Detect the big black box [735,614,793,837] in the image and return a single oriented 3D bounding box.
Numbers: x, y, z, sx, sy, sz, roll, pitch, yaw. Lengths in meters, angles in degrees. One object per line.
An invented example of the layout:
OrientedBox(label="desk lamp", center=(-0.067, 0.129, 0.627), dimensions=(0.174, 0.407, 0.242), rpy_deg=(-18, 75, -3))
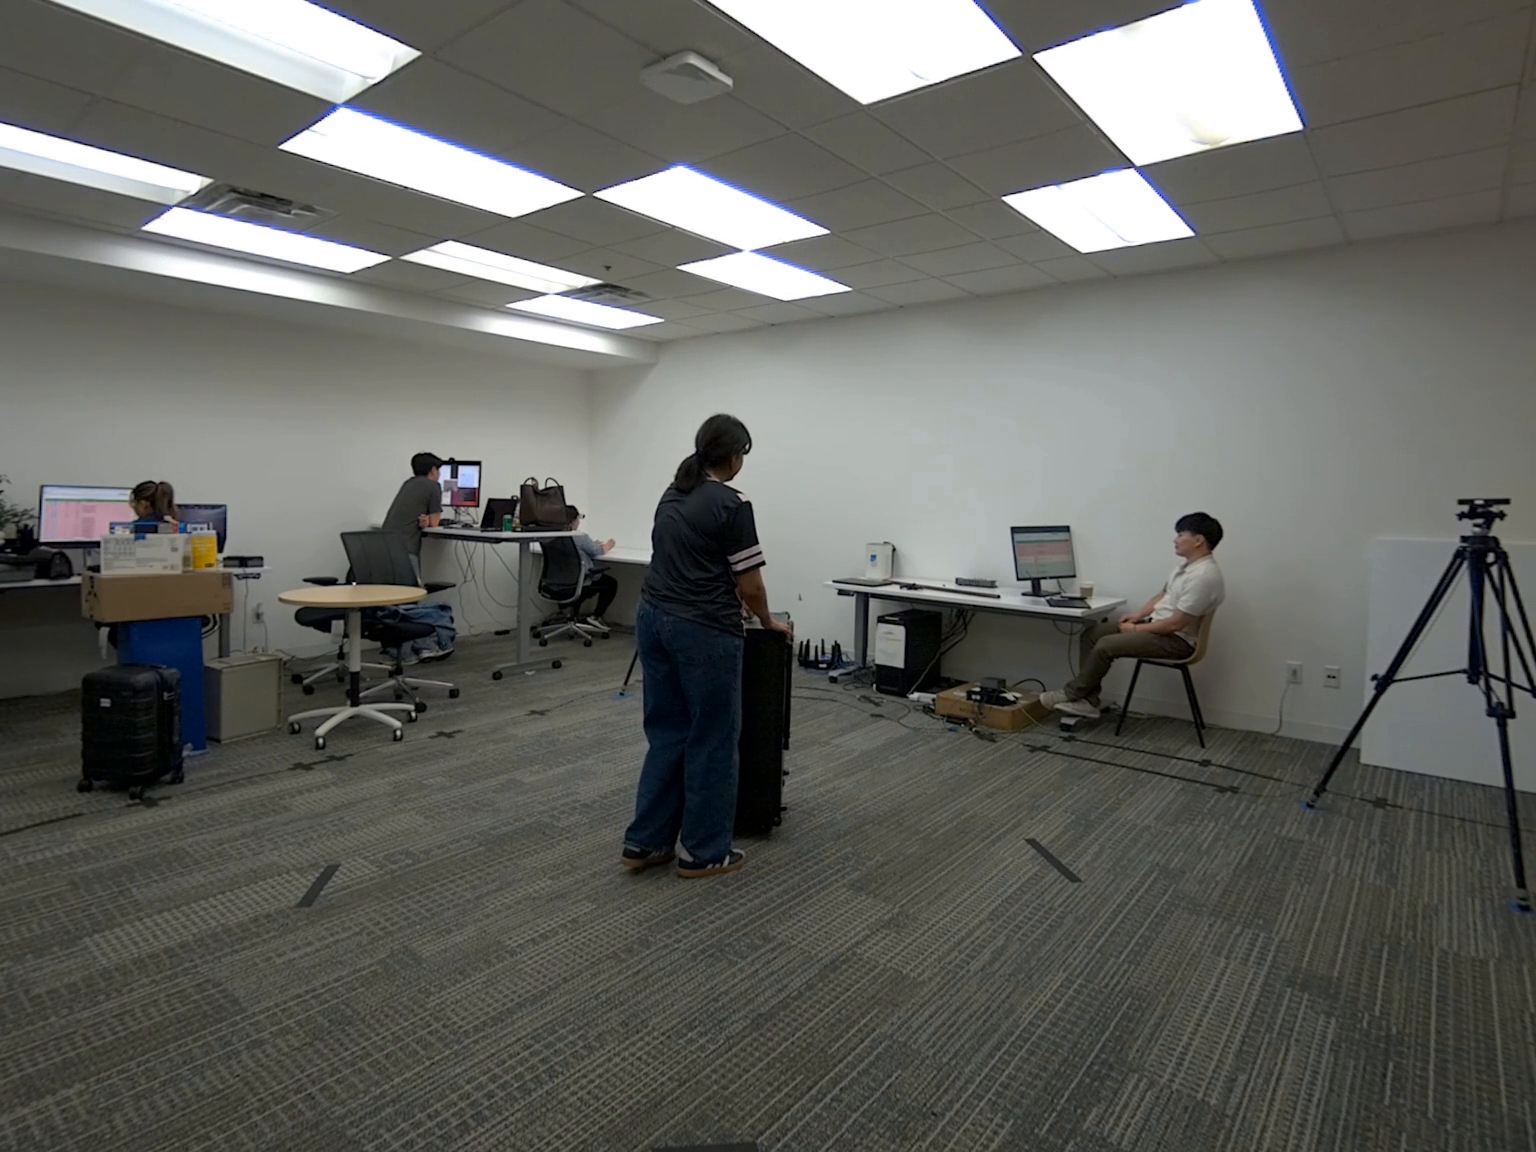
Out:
OrientedBox(label="big black box", center=(-0.115, 0.602, 3.587), dimensions=(0.387, 0.865, 0.523), rpy_deg=(2, 4, 2))
